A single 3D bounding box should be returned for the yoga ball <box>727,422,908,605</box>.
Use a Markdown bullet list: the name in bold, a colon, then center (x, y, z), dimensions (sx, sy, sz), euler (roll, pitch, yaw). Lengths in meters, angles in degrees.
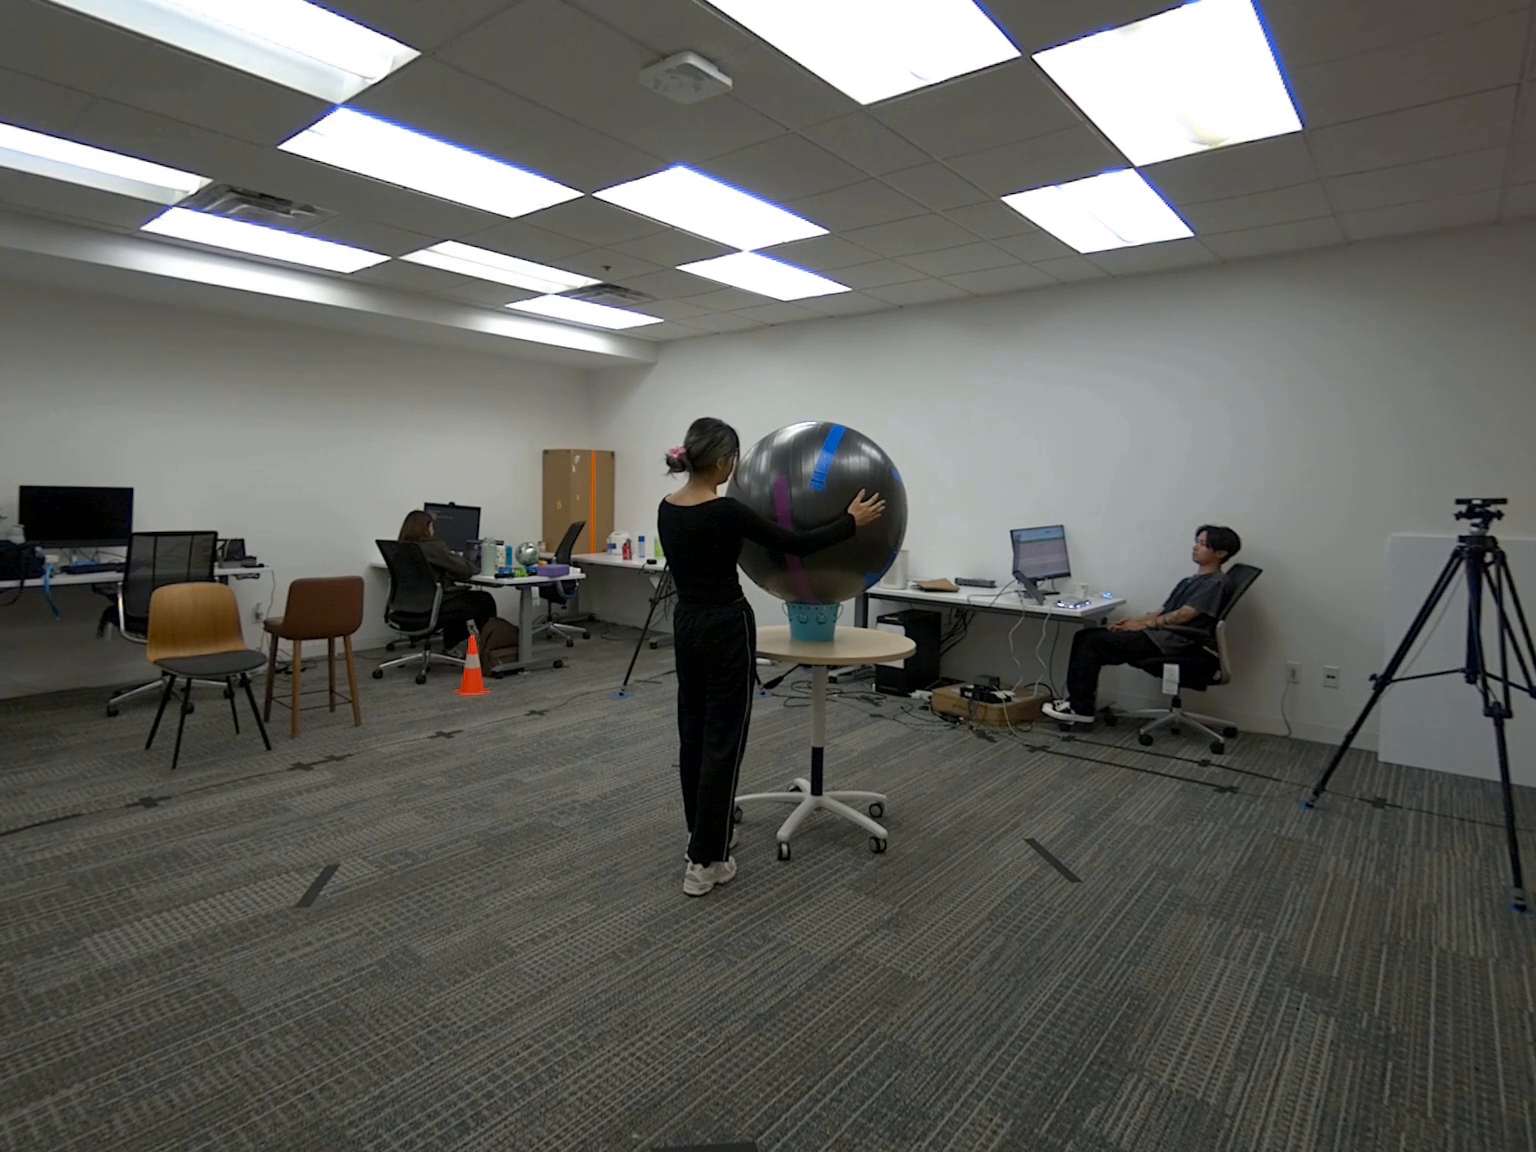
- **yoga ball**: center (0.192, -0.255, 3.518), dimensions (0.757, 0.756, 0.762), euler (1, 4, -2)
